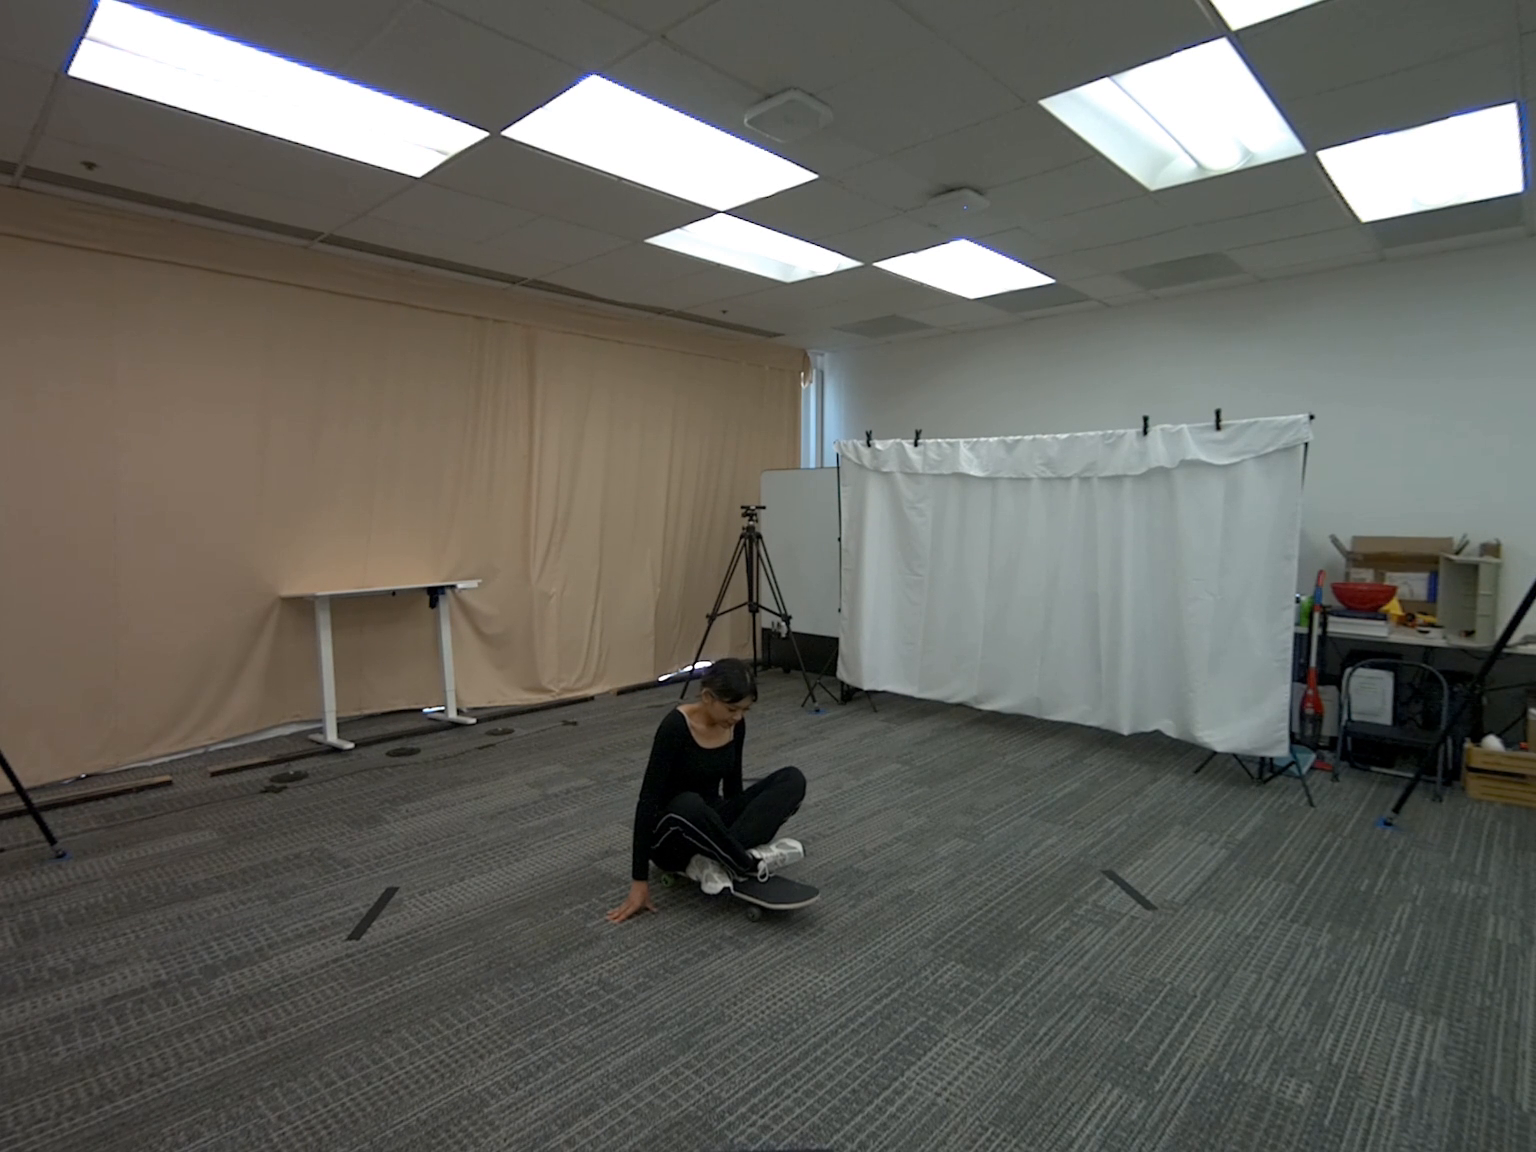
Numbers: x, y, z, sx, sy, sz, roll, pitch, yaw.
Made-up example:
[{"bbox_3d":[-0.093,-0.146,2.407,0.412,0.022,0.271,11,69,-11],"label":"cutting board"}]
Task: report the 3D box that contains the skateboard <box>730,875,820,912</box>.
[{"bbox_3d":[-0.147,1.082,3.014,0.810,0.110,0.188,1,5,37],"label":"skateboard"}]
